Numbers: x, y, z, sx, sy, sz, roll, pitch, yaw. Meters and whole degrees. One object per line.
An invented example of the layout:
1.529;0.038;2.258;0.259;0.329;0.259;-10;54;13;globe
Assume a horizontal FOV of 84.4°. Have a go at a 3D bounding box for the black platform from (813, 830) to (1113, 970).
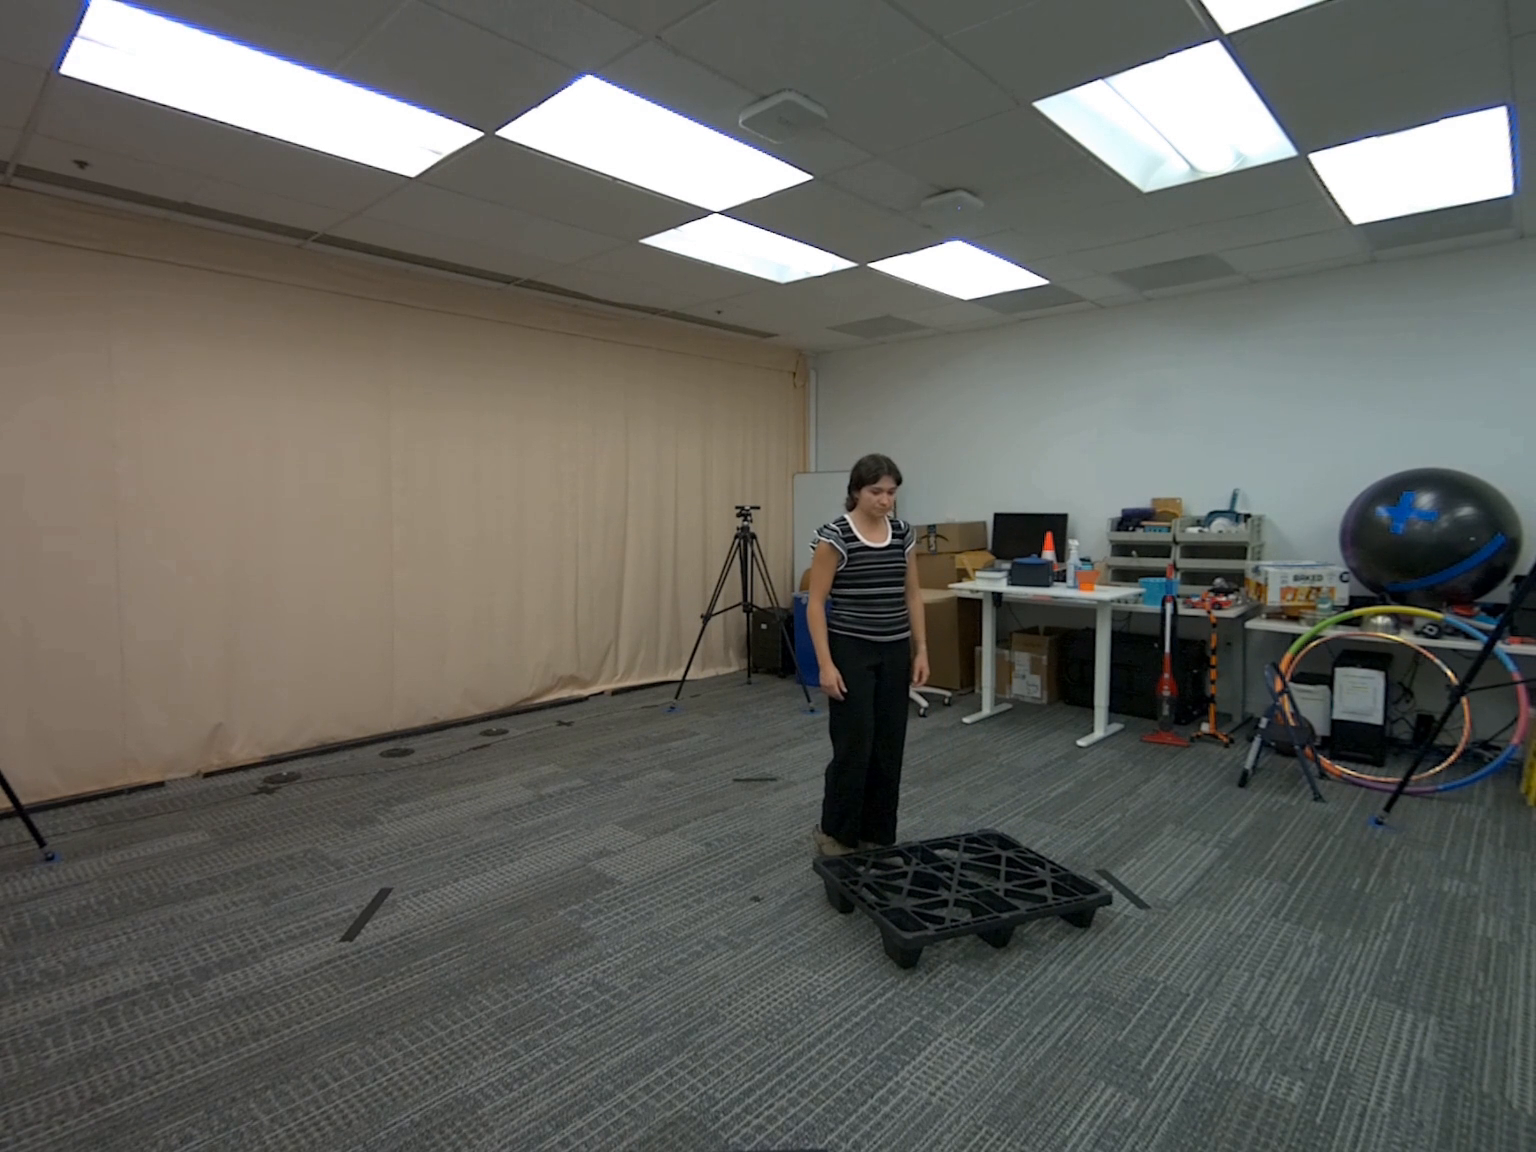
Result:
0.643;1.089;2.870;0.788;0.143;0.620;-2;4;-23;black platform
